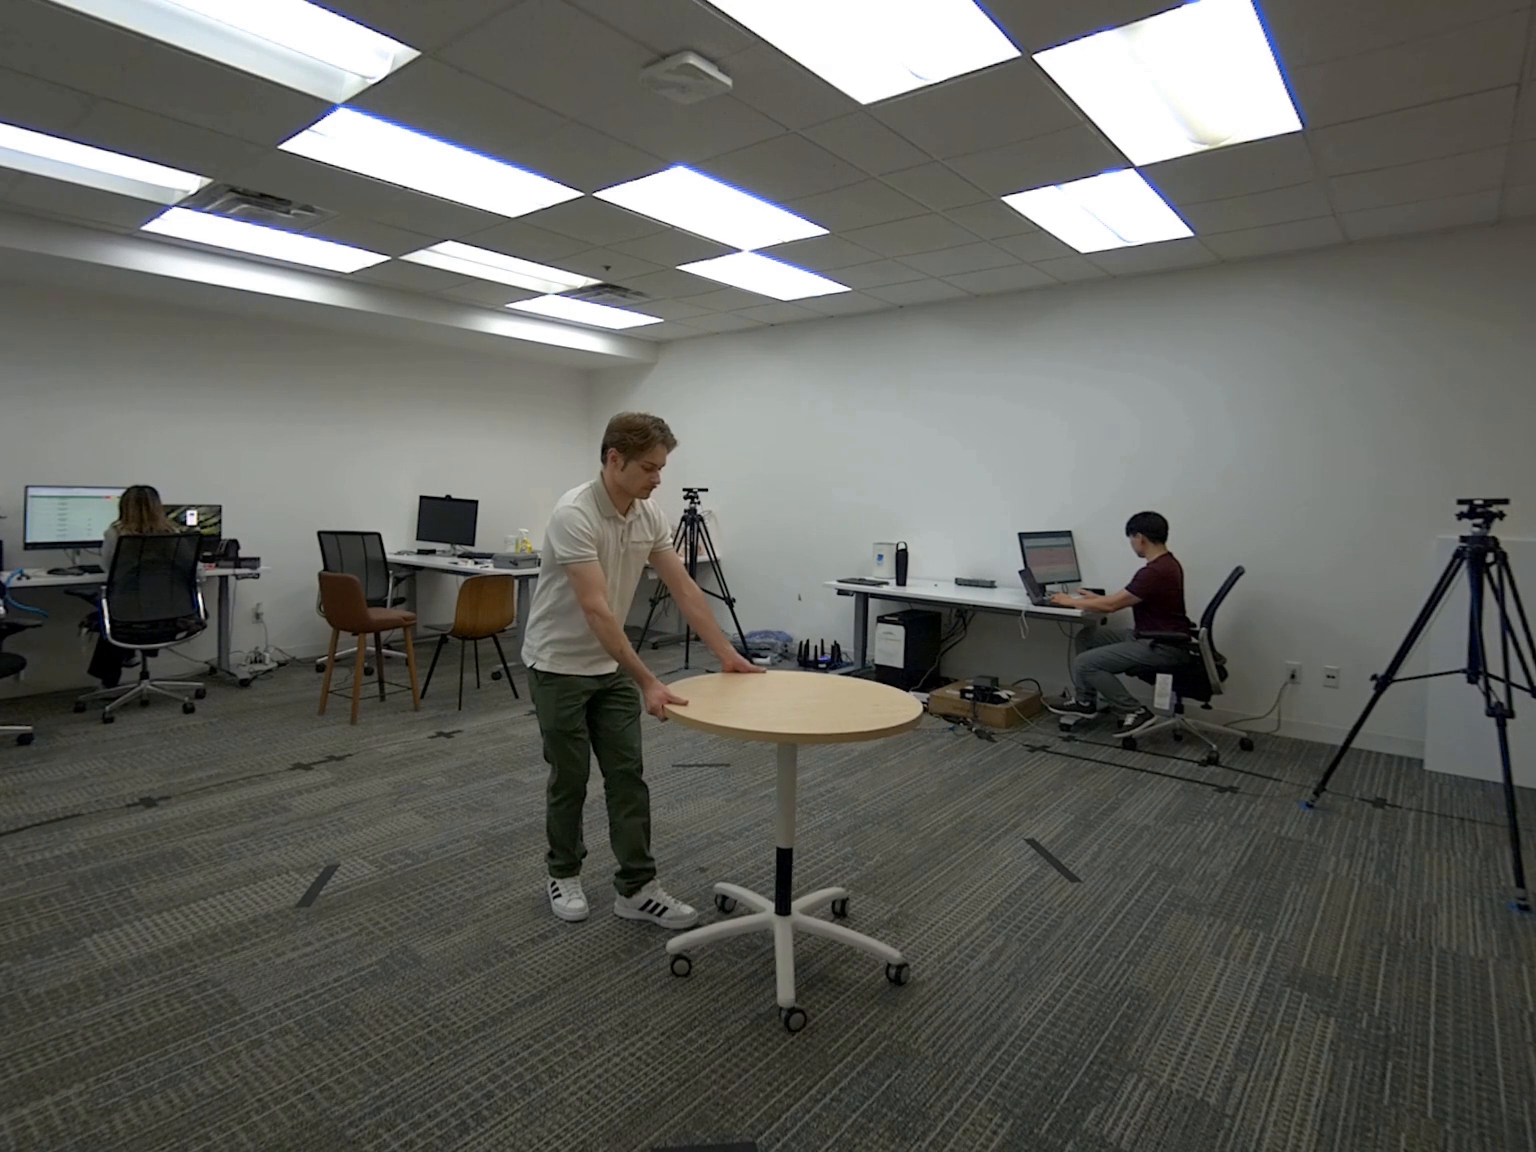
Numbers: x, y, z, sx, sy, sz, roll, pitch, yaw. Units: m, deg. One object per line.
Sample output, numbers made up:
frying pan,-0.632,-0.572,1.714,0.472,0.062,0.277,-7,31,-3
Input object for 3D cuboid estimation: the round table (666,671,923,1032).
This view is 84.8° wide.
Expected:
round table,0.032,0.740,2.510,0.784,0.784,0.789,1,4,-2
